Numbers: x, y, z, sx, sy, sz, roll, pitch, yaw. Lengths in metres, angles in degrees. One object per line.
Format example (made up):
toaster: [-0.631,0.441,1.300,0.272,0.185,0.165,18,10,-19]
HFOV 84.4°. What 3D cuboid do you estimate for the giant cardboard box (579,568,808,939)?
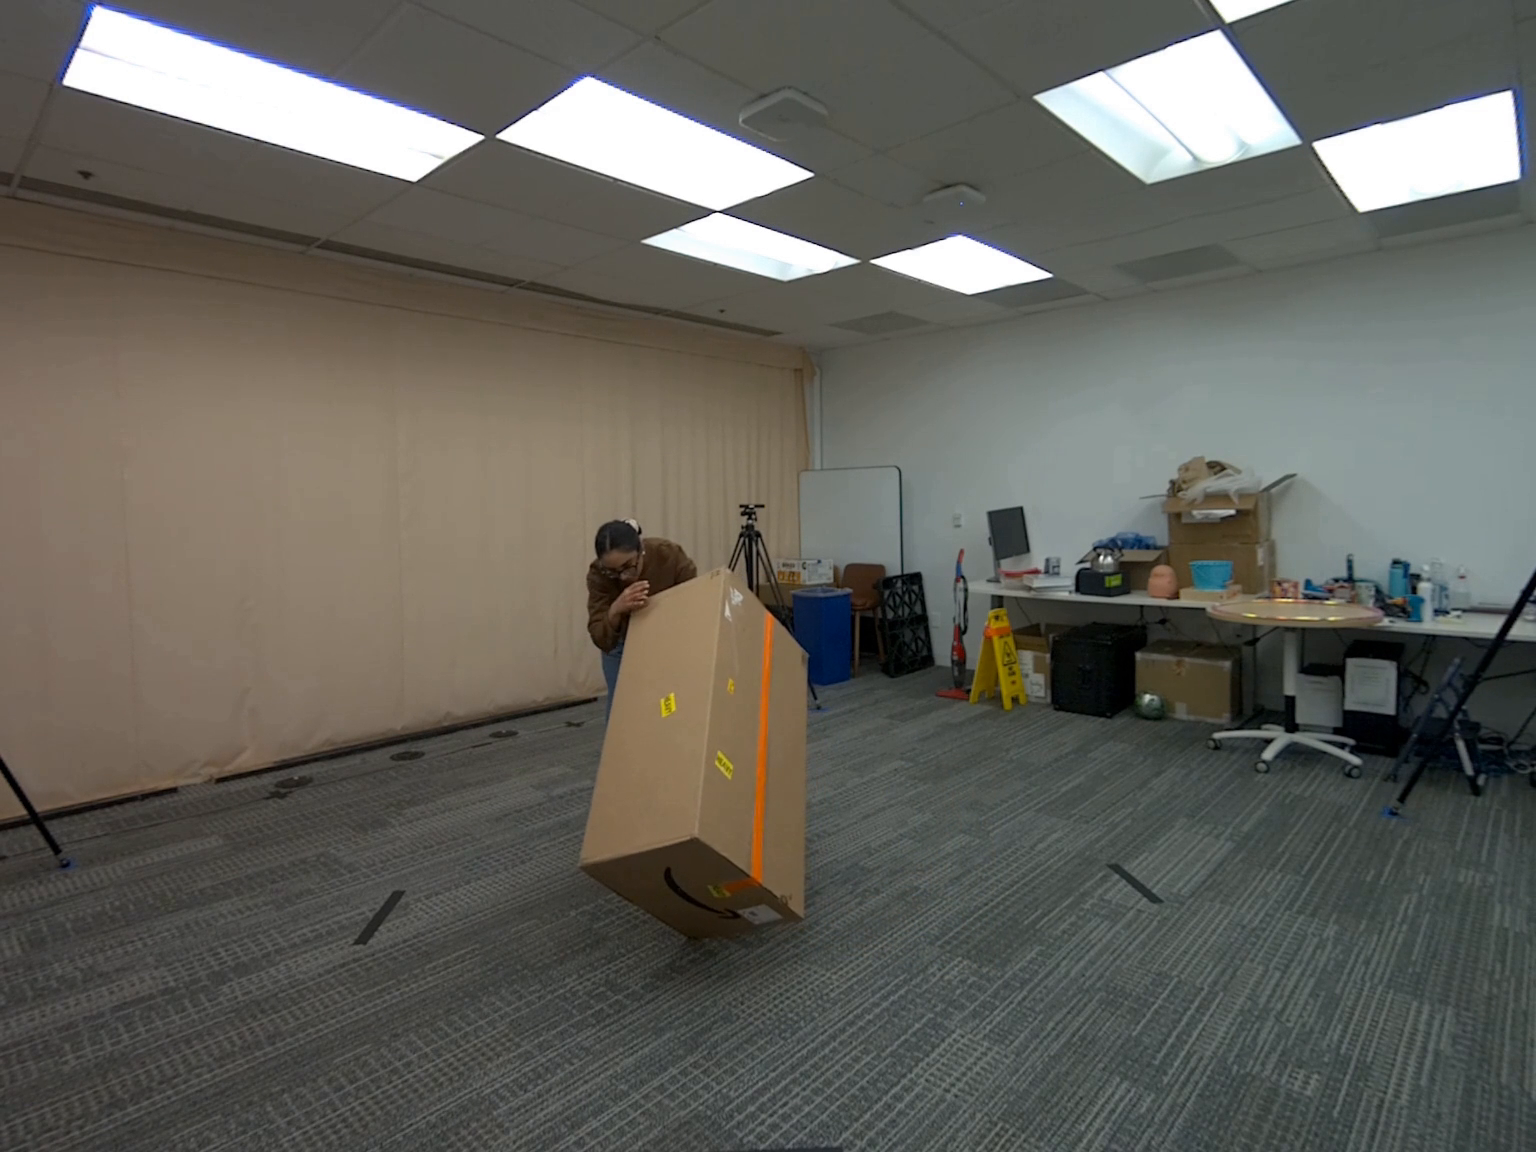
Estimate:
giant cardboard box: [-0.187,0.573,2.836,0.454,1.043,0.565,-23,-51,24]
